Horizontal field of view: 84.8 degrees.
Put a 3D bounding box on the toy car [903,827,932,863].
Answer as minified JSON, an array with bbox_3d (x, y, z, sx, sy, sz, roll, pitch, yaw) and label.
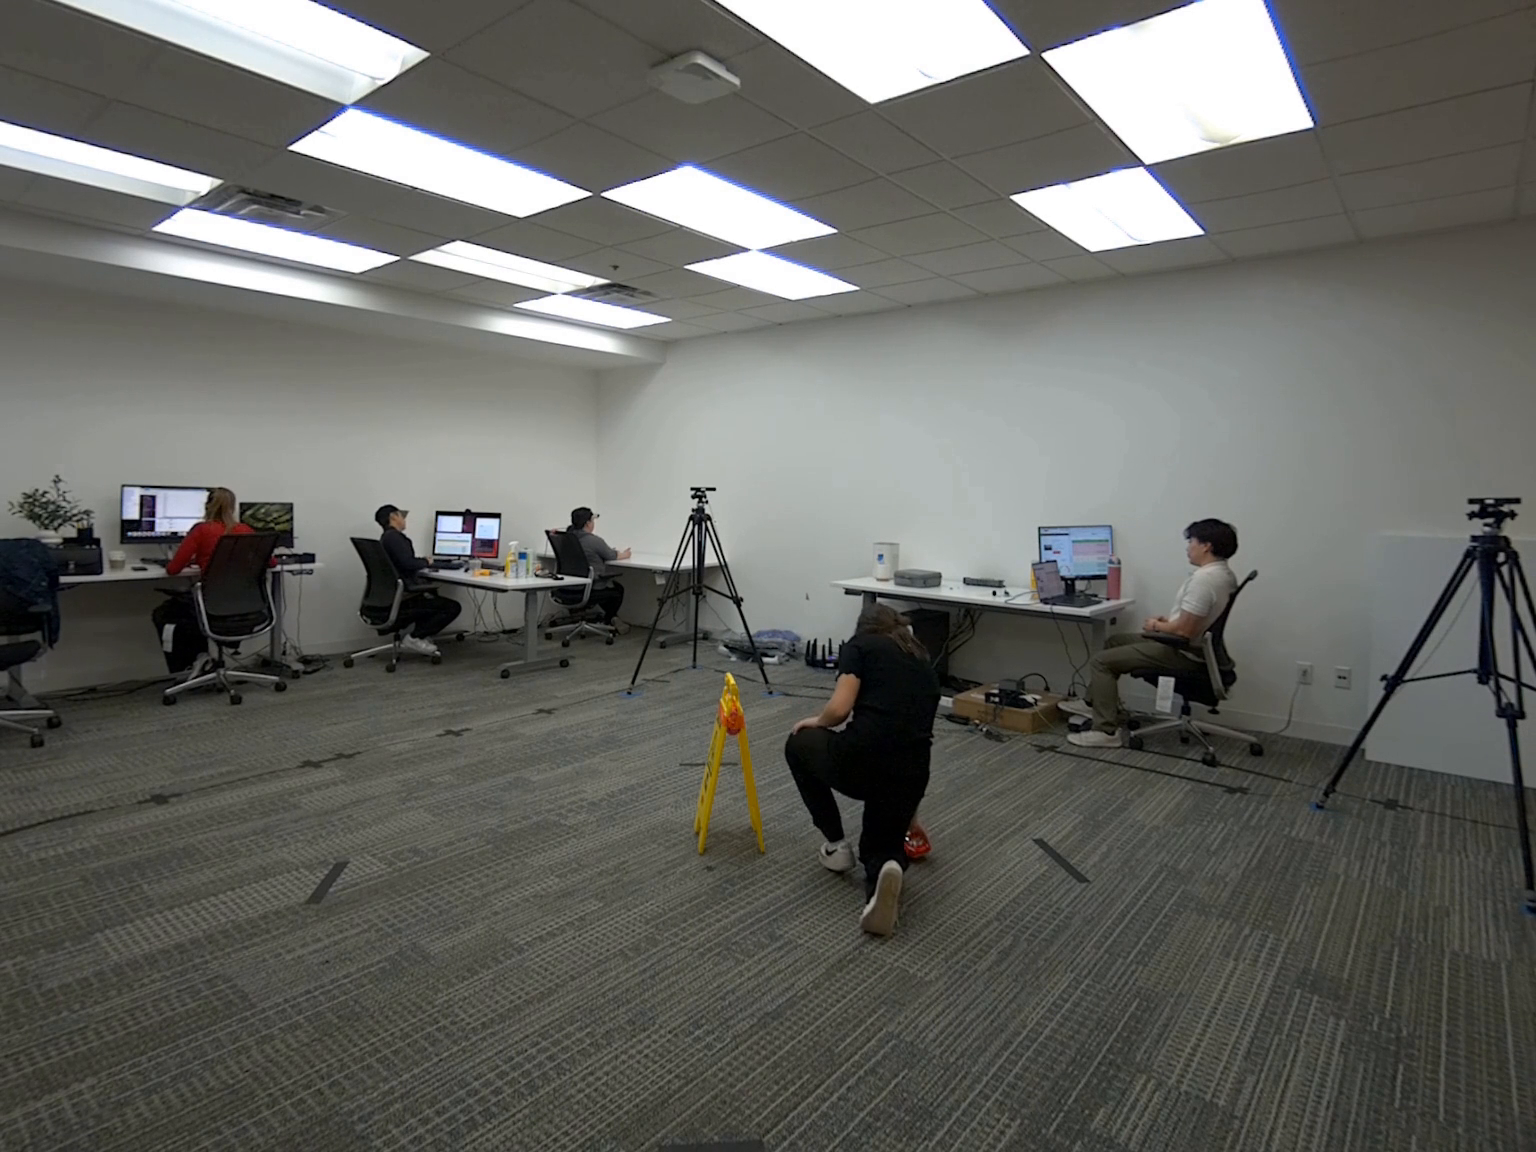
[{"bbox_3d":[0.511,1.028,3.286,0.127,0.083,0.261,-3,0,-34],"label":"toy car"}]
